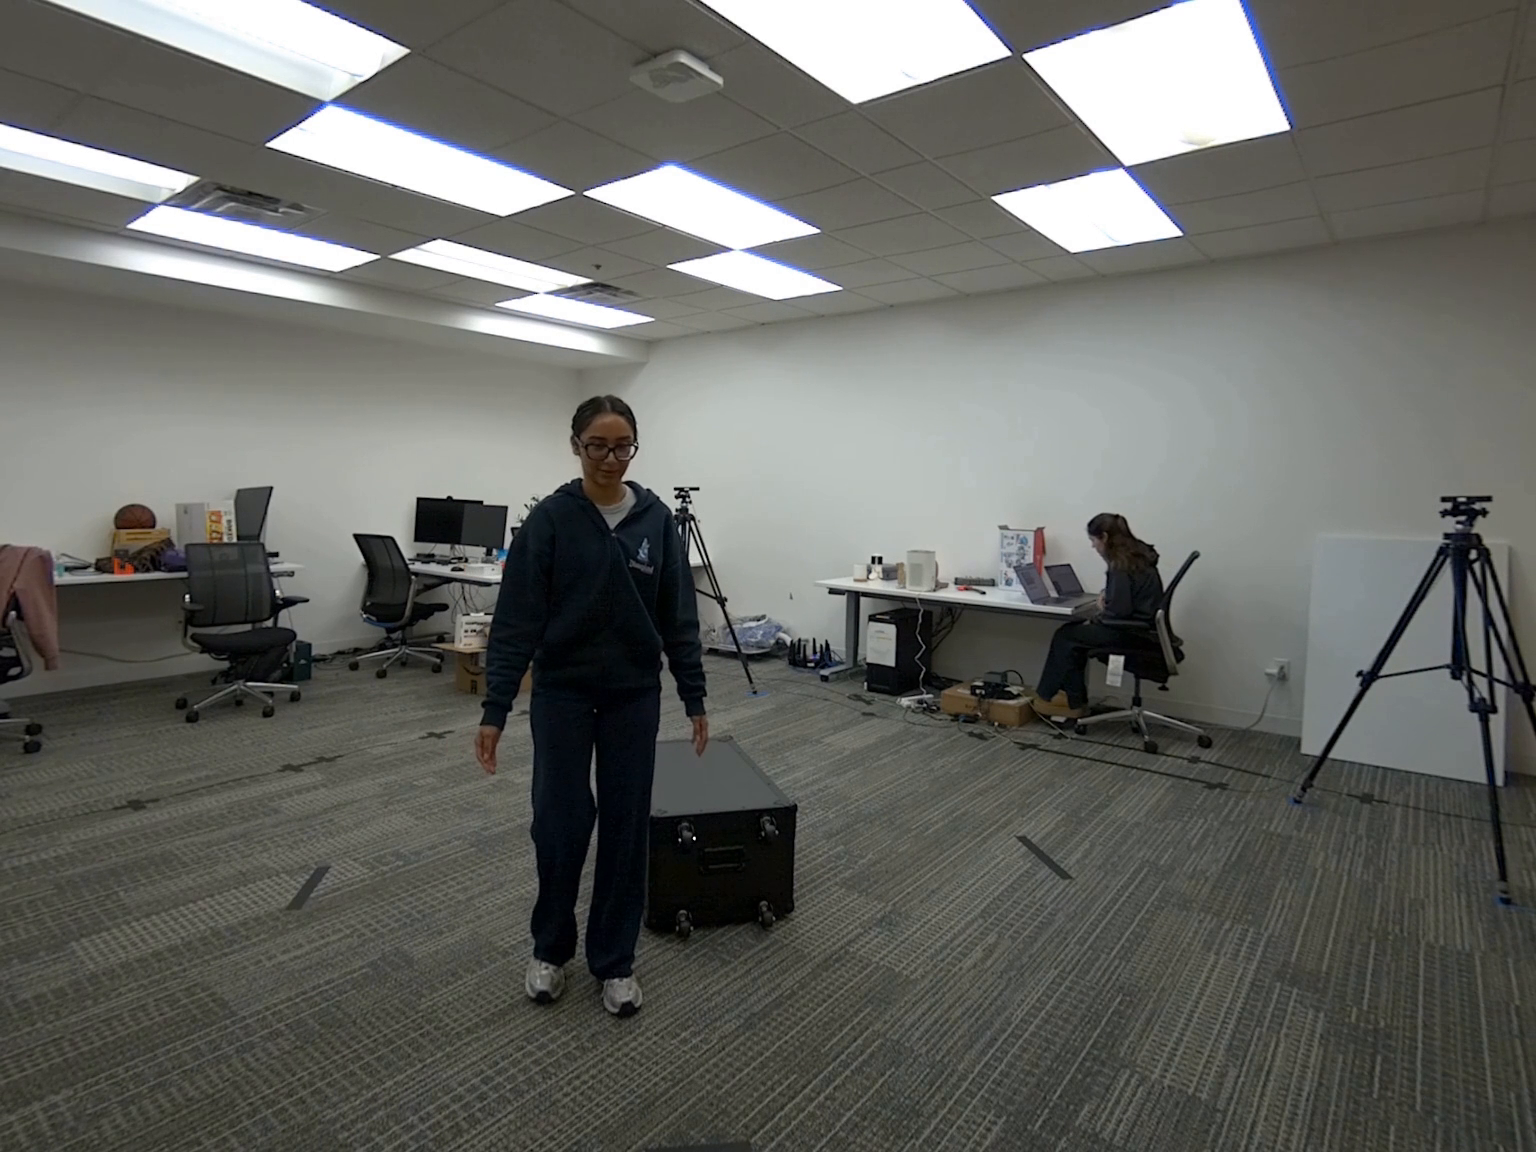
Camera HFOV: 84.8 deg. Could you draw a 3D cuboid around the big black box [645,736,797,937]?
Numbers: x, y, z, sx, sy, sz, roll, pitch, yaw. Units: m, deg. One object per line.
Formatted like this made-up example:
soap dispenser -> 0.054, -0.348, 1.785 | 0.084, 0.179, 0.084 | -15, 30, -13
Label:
big black box -> -0.258, 0.883, 3.018 | 0.512, 0.395, 0.880 | -1, 6, -18
